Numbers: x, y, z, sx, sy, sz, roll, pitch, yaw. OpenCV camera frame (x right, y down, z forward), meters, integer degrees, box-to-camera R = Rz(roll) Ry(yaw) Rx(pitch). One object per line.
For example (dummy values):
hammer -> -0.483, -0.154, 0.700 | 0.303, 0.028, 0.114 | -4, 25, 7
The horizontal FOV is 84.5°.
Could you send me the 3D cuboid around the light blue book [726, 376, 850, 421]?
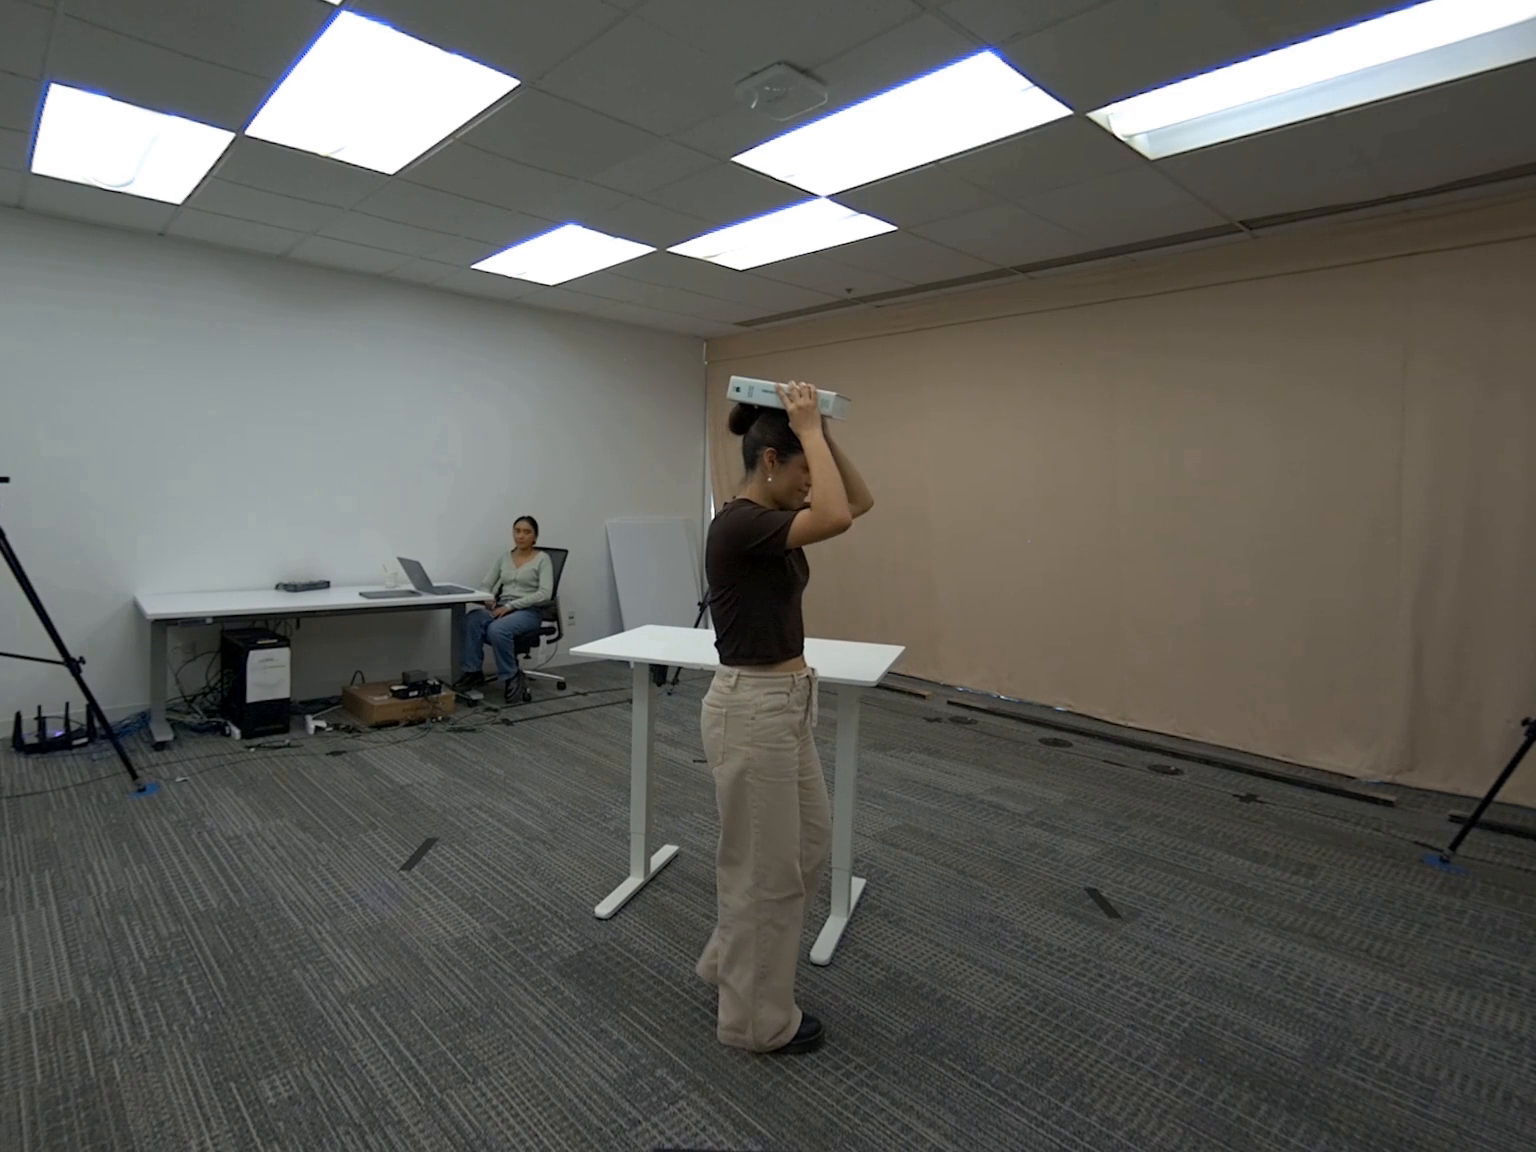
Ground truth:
light blue book -> 0.051, -0.428, 2.048 | 0.265, 0.059, 0.189 | 14, 9, 15
